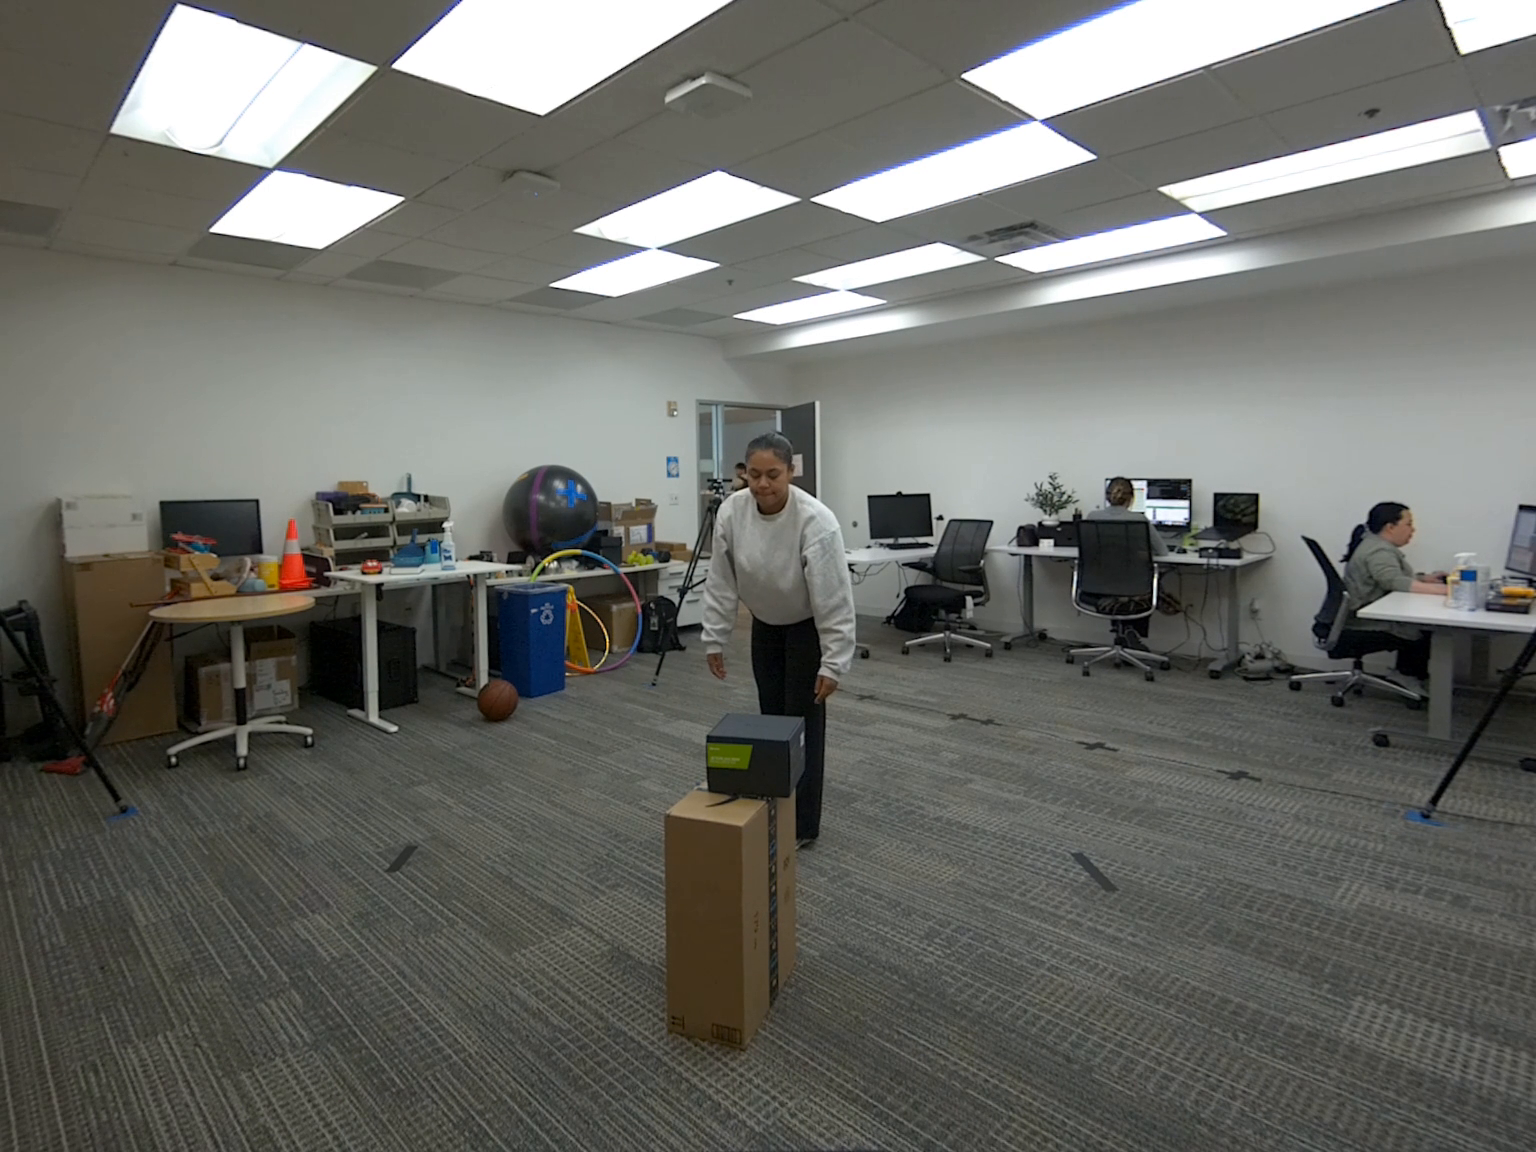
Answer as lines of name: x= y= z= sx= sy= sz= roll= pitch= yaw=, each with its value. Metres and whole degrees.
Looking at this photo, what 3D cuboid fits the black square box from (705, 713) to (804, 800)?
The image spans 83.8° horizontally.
black square box: x=-0.033 y=0.487 z=2.353 sx=0.231 sy=0.155 sz=0.215 roll=0 pitch=7 yaw=16
